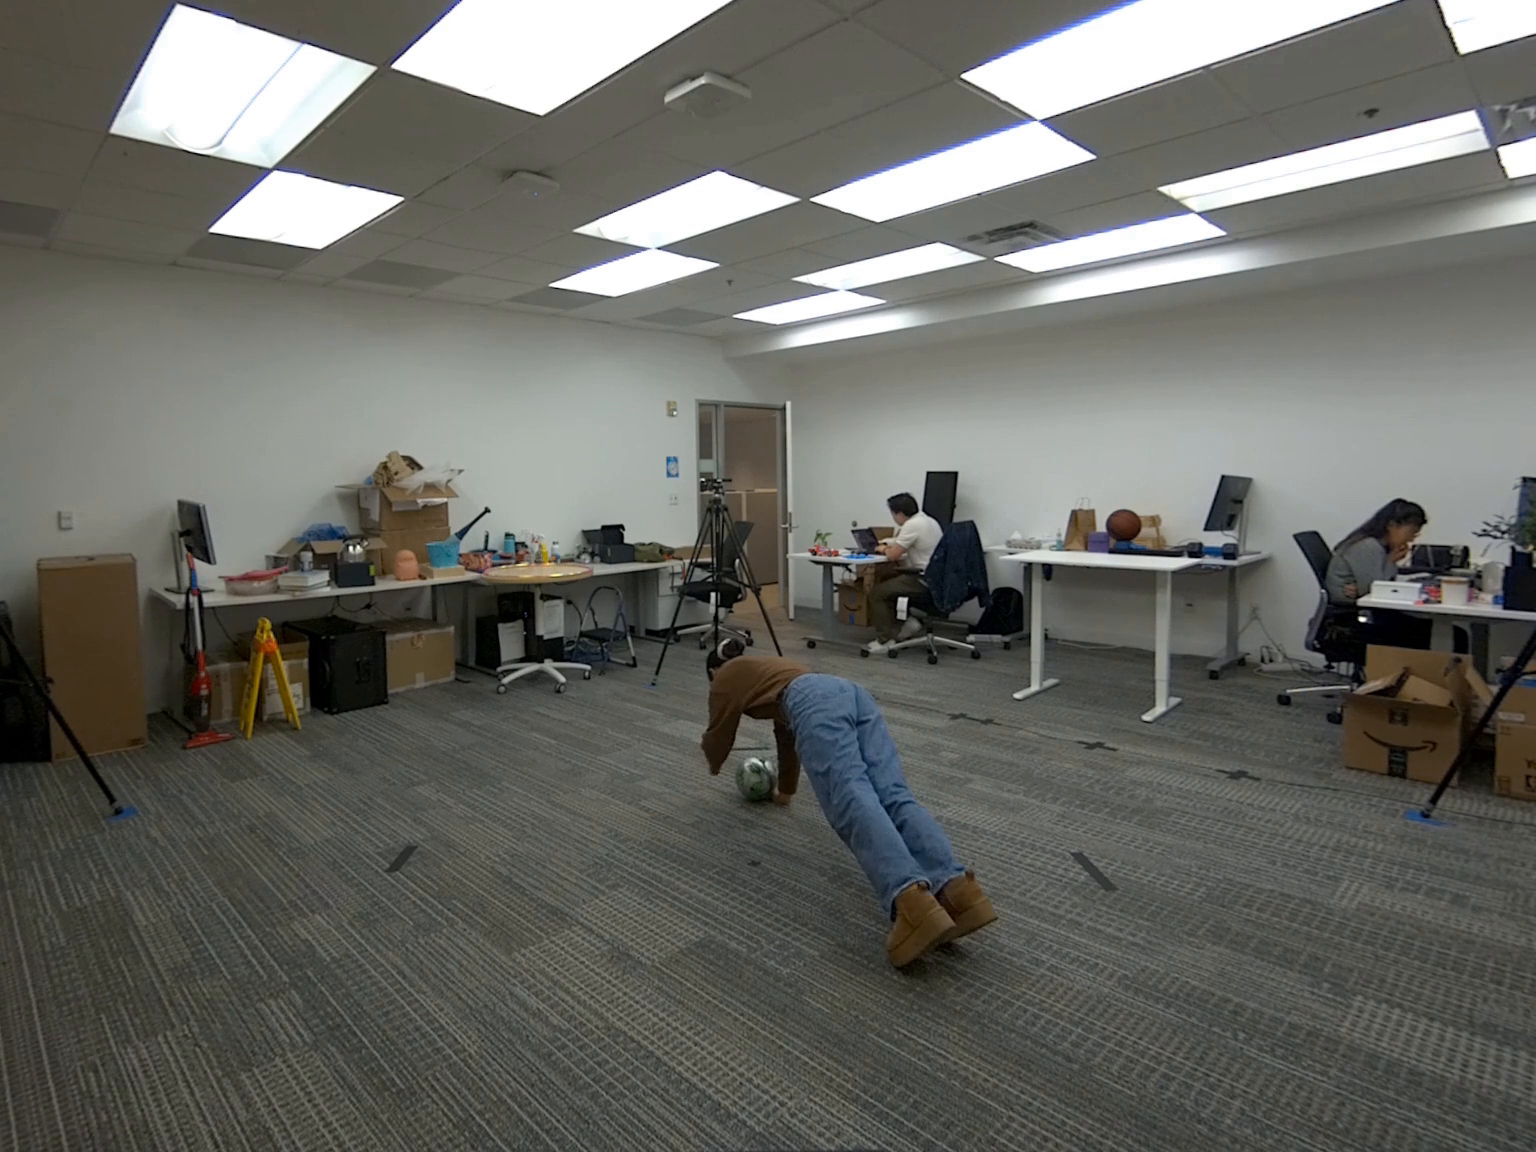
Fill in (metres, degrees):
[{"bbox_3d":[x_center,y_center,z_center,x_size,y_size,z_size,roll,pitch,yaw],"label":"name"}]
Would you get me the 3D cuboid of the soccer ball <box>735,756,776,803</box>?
[{"bbox_3d":[-0.051,0.883,3.730,0.187,0.187,0.188,-1,5,-2],"label":"soccer ball"}]
